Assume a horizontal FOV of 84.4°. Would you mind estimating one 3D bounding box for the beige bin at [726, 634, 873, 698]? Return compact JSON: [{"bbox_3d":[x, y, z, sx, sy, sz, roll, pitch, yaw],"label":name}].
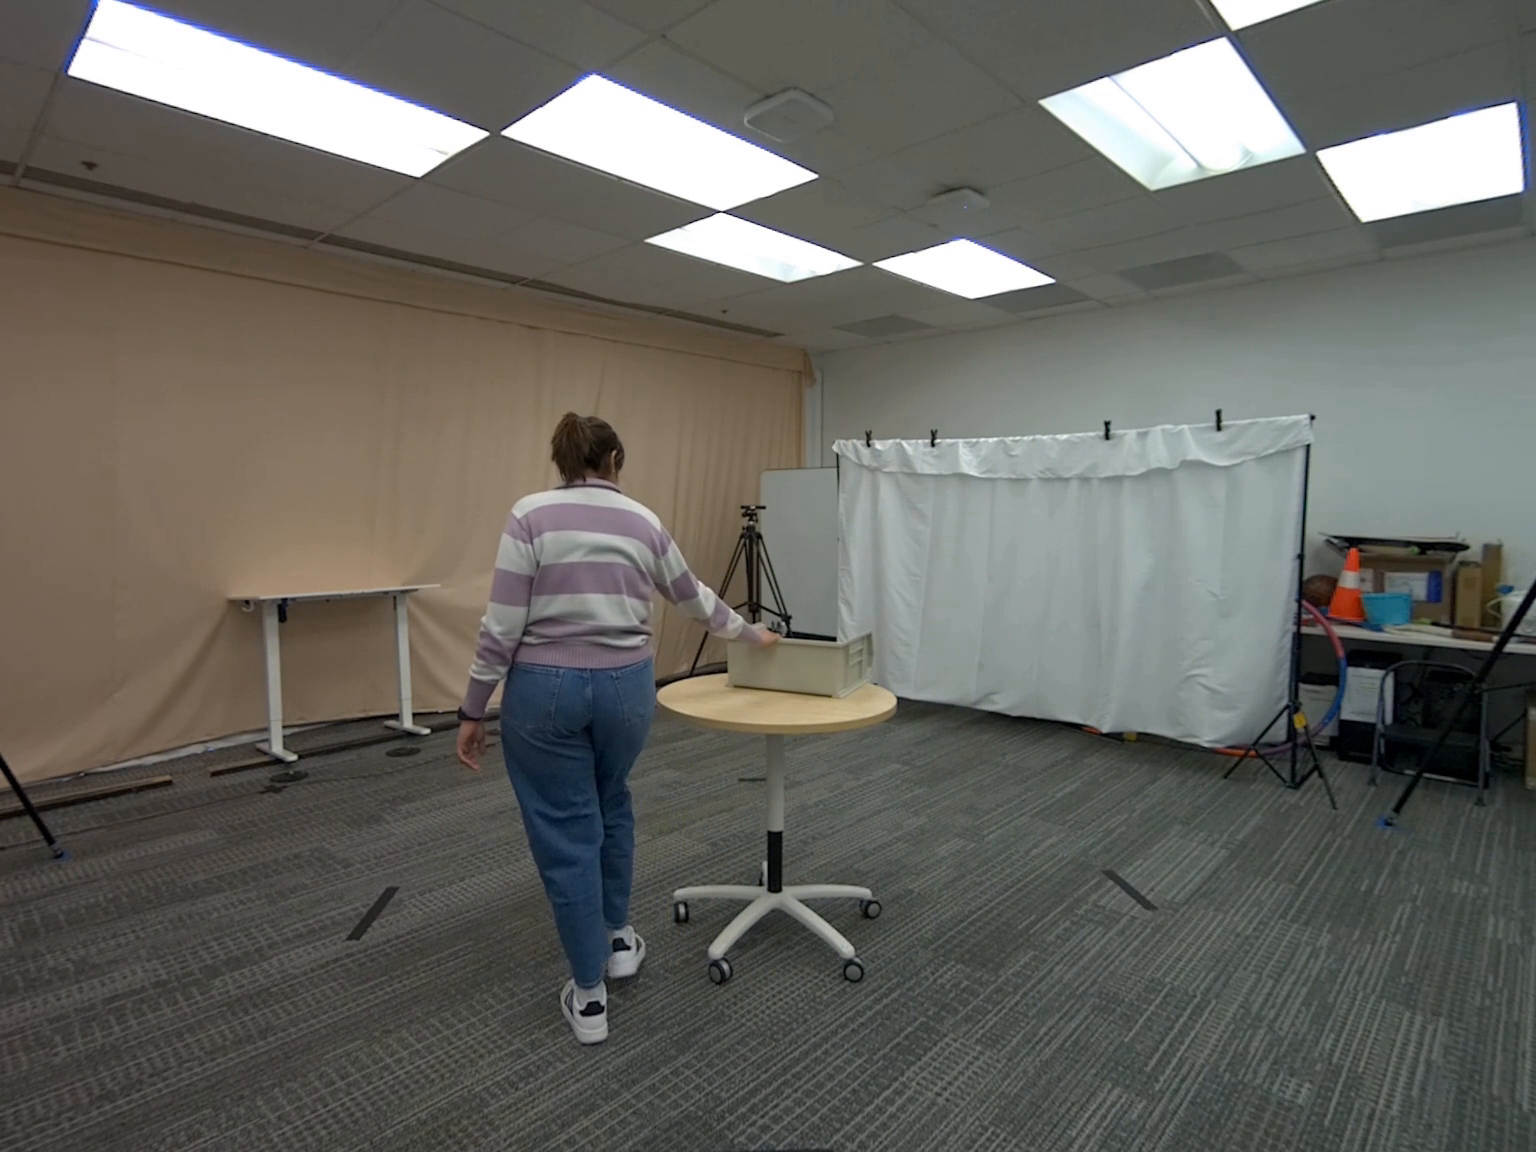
[{"bbox_3d":[0.114,0.281,2.890,0.433,0.188,0.369,3,6,24],"label":"beige bin"}]
